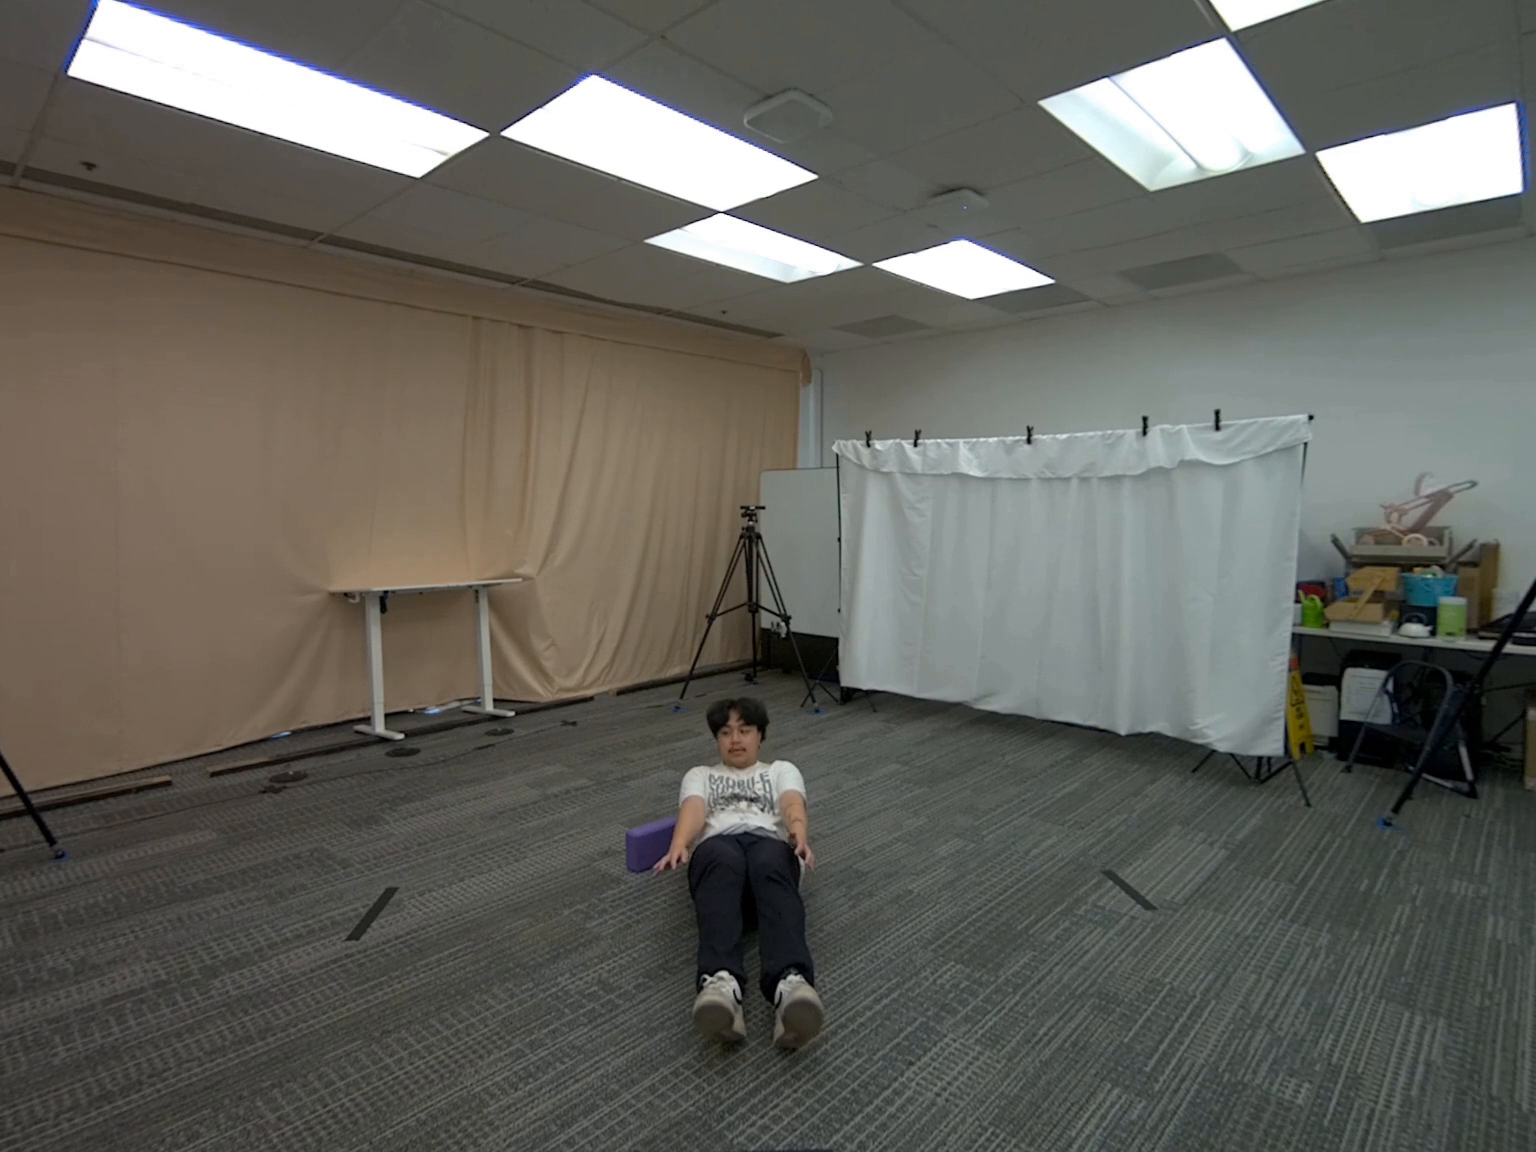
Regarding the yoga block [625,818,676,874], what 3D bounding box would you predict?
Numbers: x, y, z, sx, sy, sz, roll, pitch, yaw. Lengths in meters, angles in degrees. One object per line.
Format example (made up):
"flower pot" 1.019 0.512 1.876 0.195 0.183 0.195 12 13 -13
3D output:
"yoga block" -0.444 1.048 3.293 0.222 0.148 0.079 -6 5 -42
